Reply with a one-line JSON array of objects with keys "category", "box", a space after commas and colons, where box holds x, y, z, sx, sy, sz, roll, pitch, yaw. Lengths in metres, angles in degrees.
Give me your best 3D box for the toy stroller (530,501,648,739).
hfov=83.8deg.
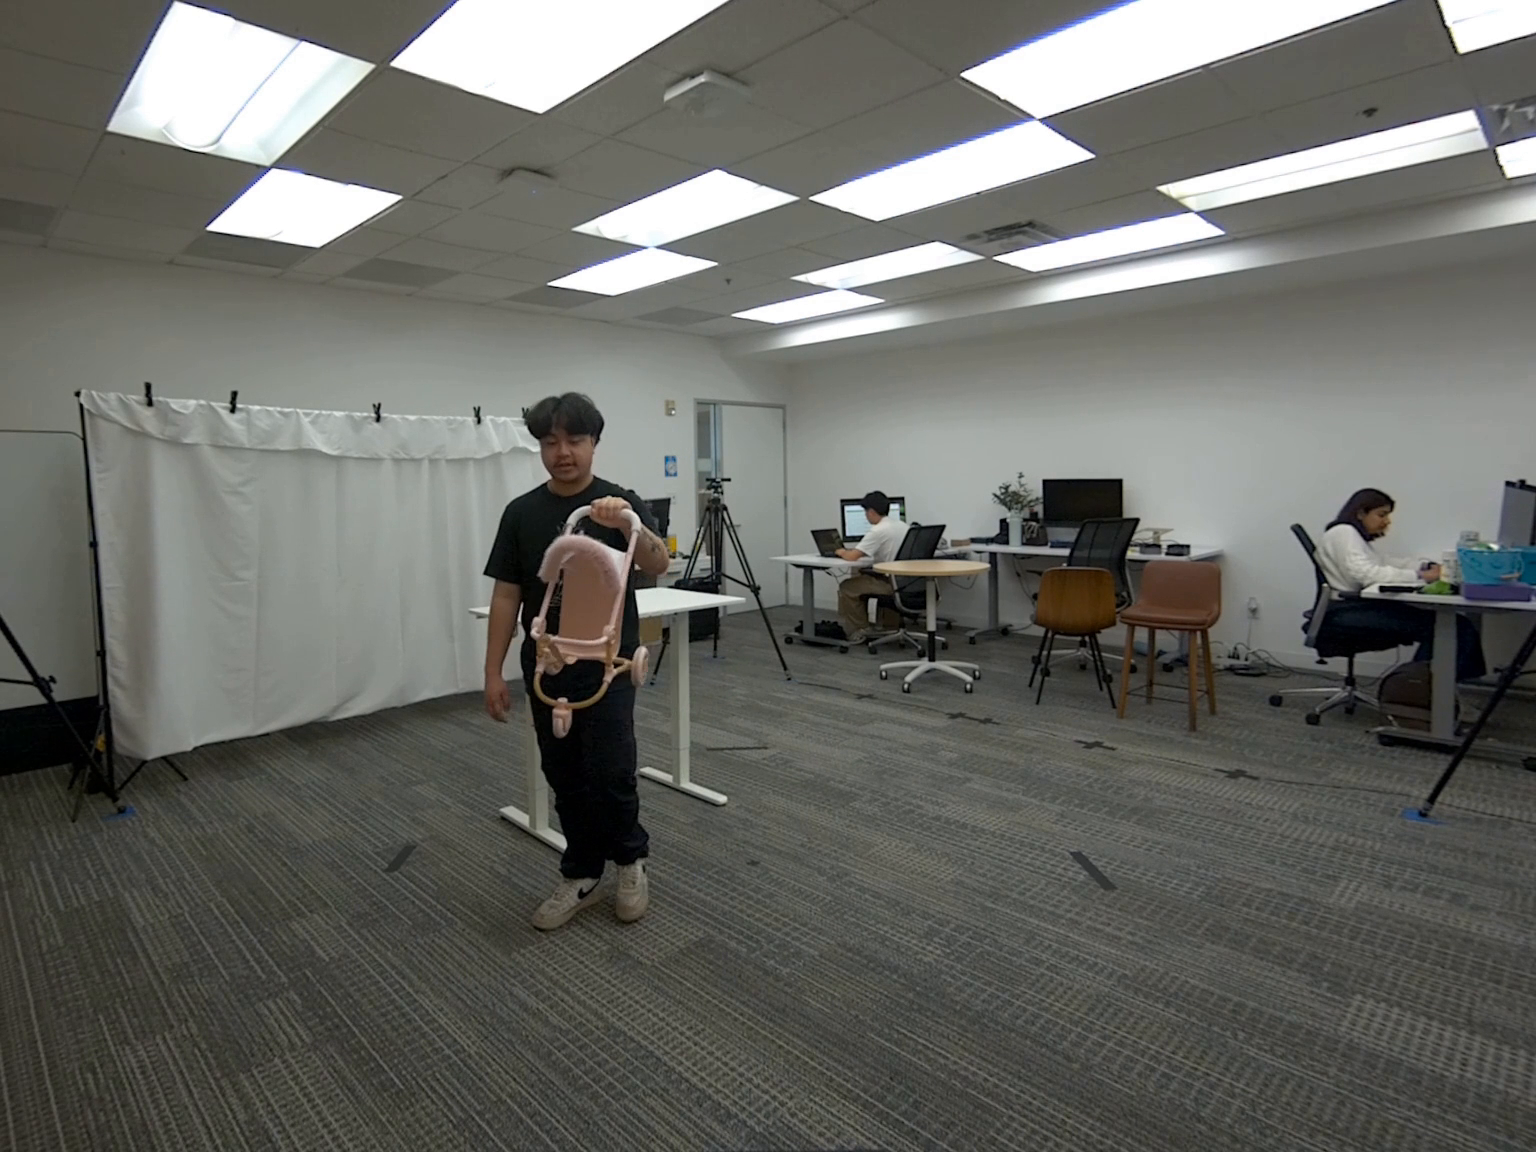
[{"category": "toy stroller", "box": [-0.485, 0.123, 2.227, 0.286, 0.528, 0.340, 7, 15, 14]}]
